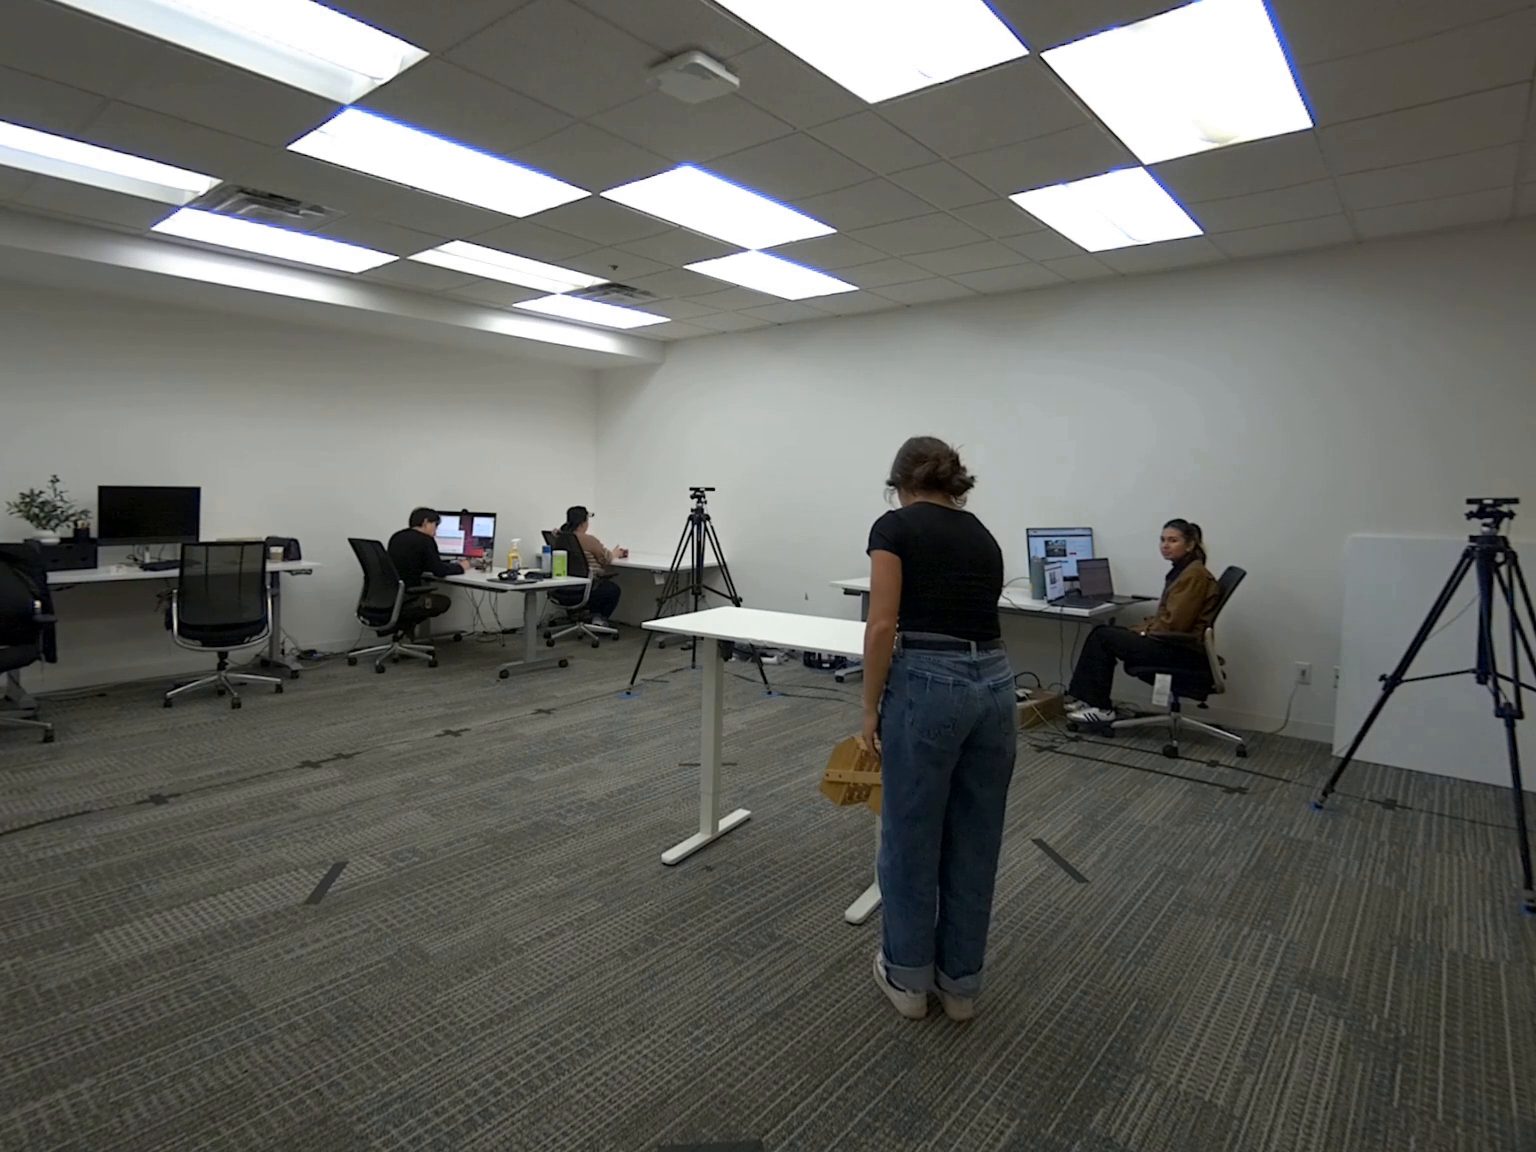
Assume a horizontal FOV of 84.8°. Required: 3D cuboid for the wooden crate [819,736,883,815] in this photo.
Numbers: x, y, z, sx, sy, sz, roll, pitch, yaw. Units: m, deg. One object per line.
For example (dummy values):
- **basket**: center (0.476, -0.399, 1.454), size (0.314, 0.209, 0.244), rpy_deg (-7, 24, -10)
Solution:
- **wooden crate**: center (0.378, 0.566, 2.575), size (0.313, 0.300, 0.285), rpy_deg (9, 14, -47)
